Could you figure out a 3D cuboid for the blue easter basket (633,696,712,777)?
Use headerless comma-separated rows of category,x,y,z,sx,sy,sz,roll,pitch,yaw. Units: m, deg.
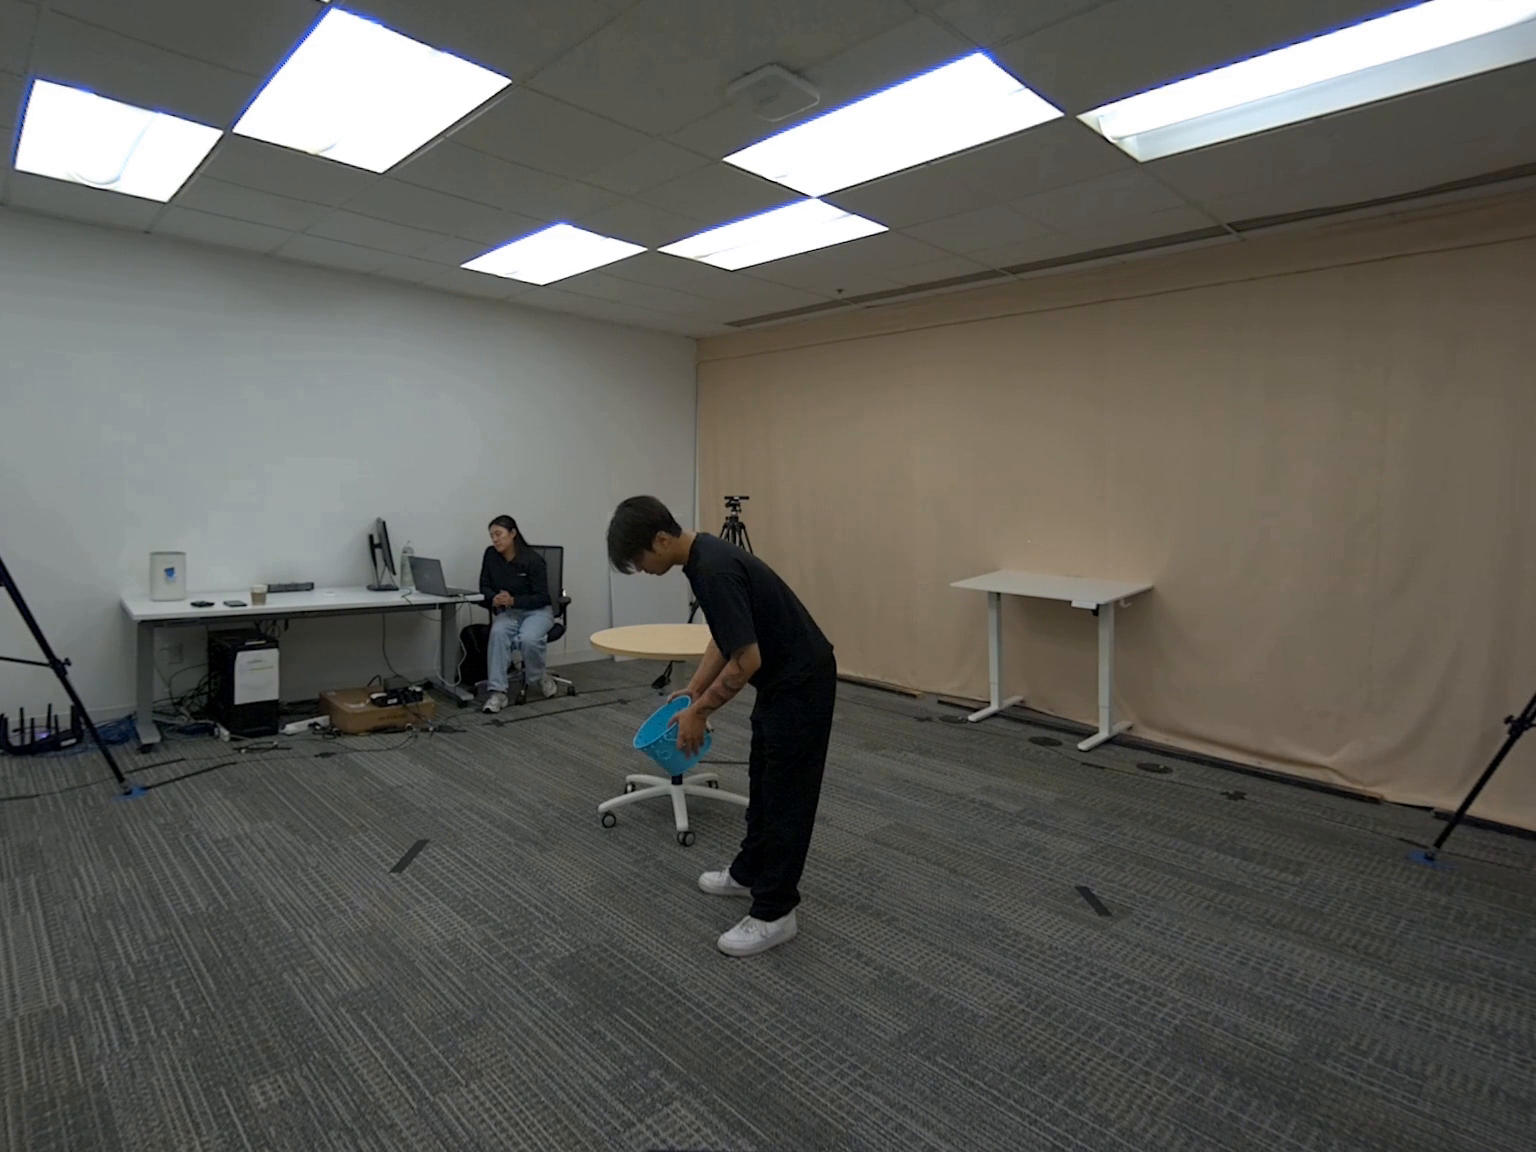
blue easter basket,-0.307,0.514,2.722,0.244,0.154,0.246,-36,14,8
